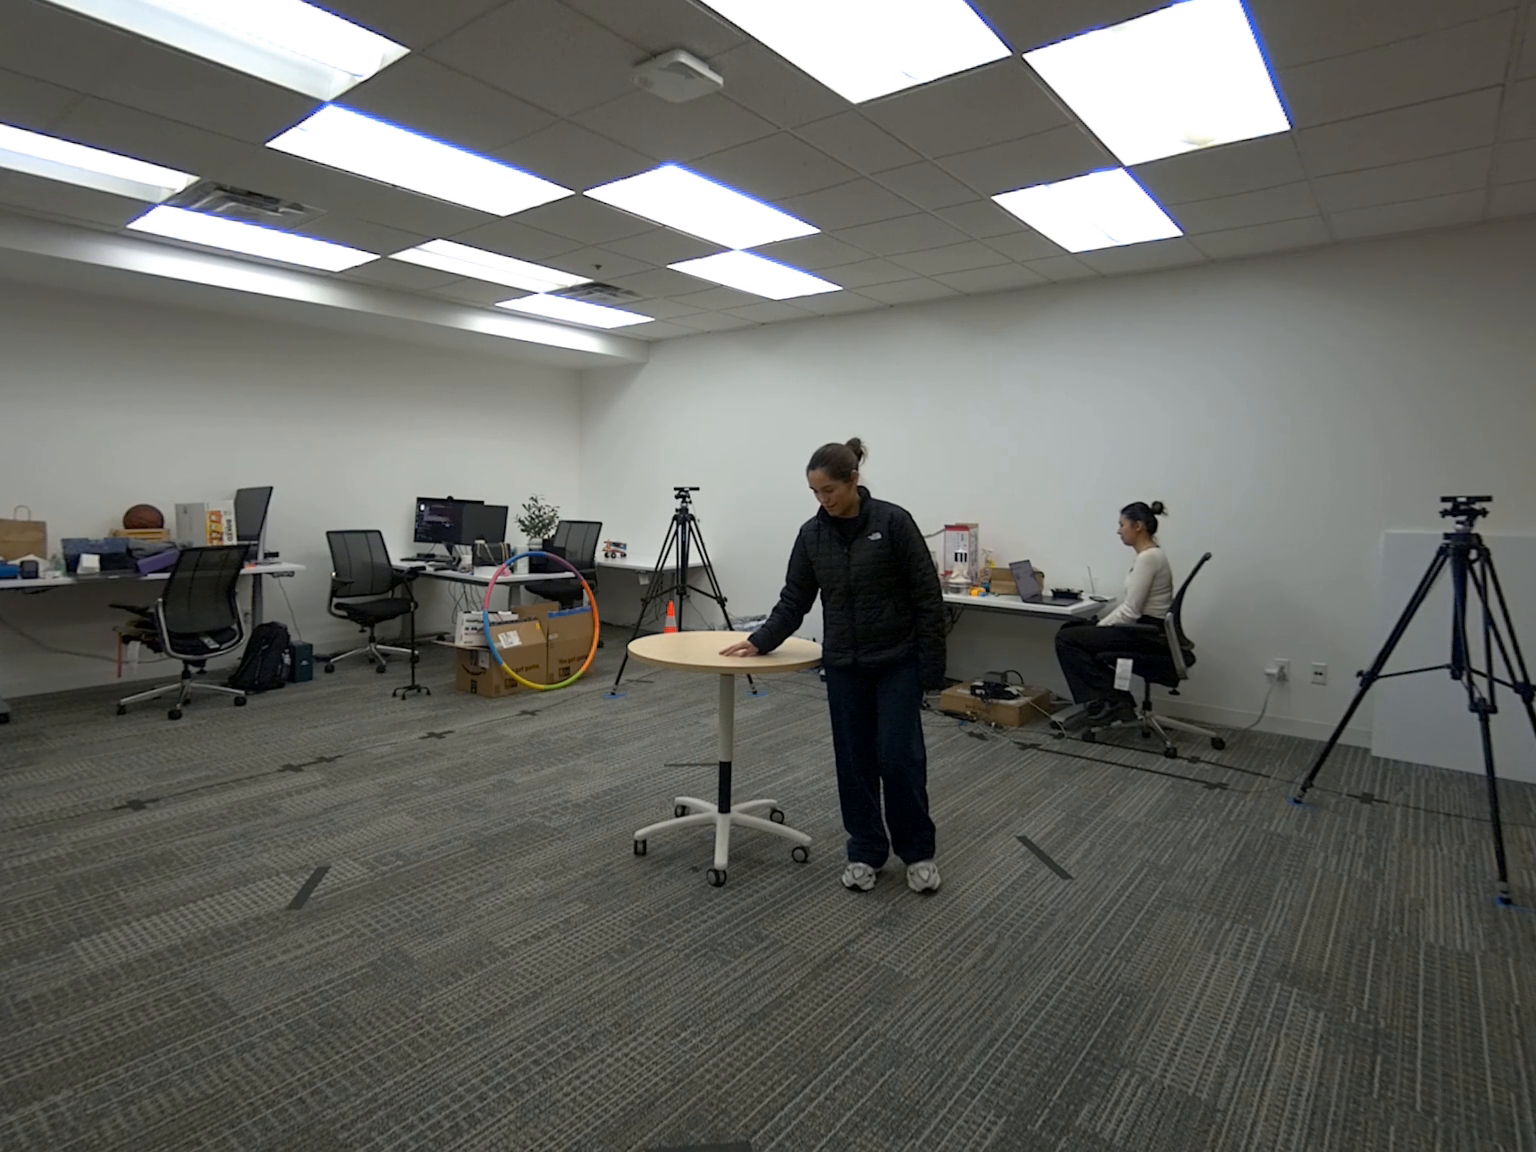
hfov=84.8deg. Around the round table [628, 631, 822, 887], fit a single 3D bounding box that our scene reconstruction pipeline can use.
[{"bbox_3d":[-0.139,0.656,3.287,0.784,0.784,0.789,1,4,-2],"label":"round table"}]
